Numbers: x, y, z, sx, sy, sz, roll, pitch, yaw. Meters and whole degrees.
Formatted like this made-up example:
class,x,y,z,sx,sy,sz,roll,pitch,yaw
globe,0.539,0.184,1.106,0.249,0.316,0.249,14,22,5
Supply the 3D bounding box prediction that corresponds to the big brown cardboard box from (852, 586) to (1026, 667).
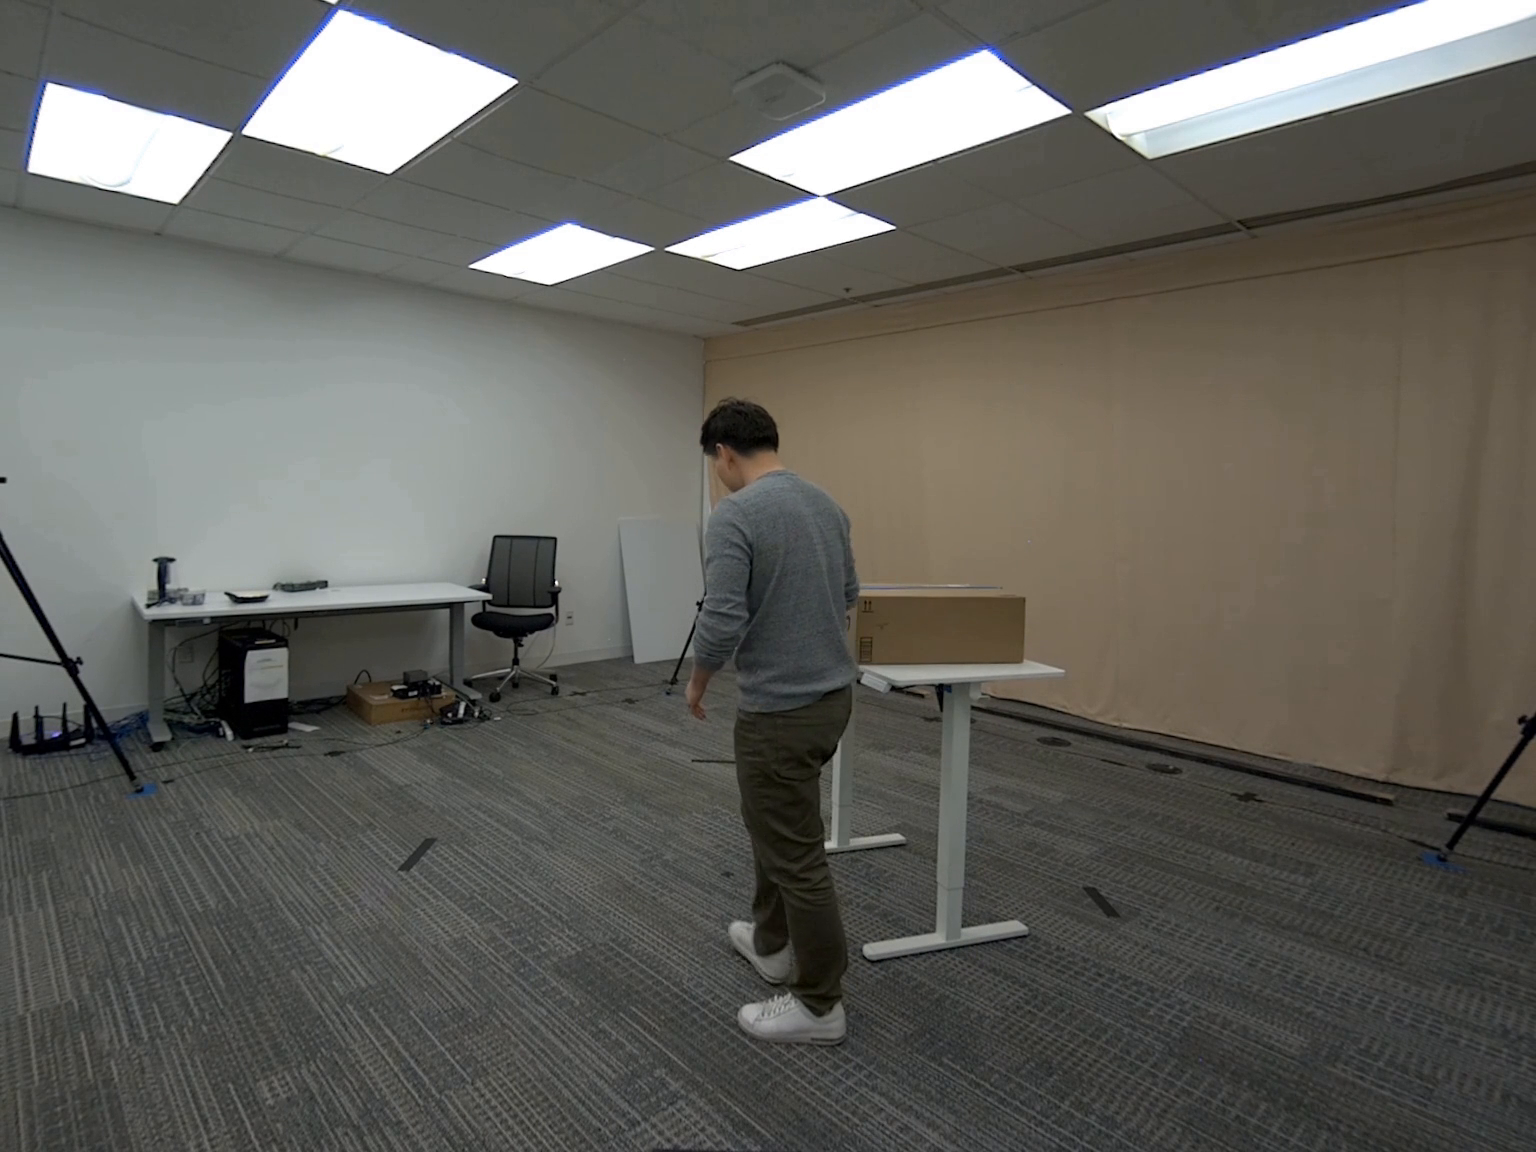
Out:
class,x,y,z,sx,sy,sz,roll,pitch,yaw
big brown cardboard box,0.496,0.149,2.842,0.584,0.232,0.422,0,5,-11
